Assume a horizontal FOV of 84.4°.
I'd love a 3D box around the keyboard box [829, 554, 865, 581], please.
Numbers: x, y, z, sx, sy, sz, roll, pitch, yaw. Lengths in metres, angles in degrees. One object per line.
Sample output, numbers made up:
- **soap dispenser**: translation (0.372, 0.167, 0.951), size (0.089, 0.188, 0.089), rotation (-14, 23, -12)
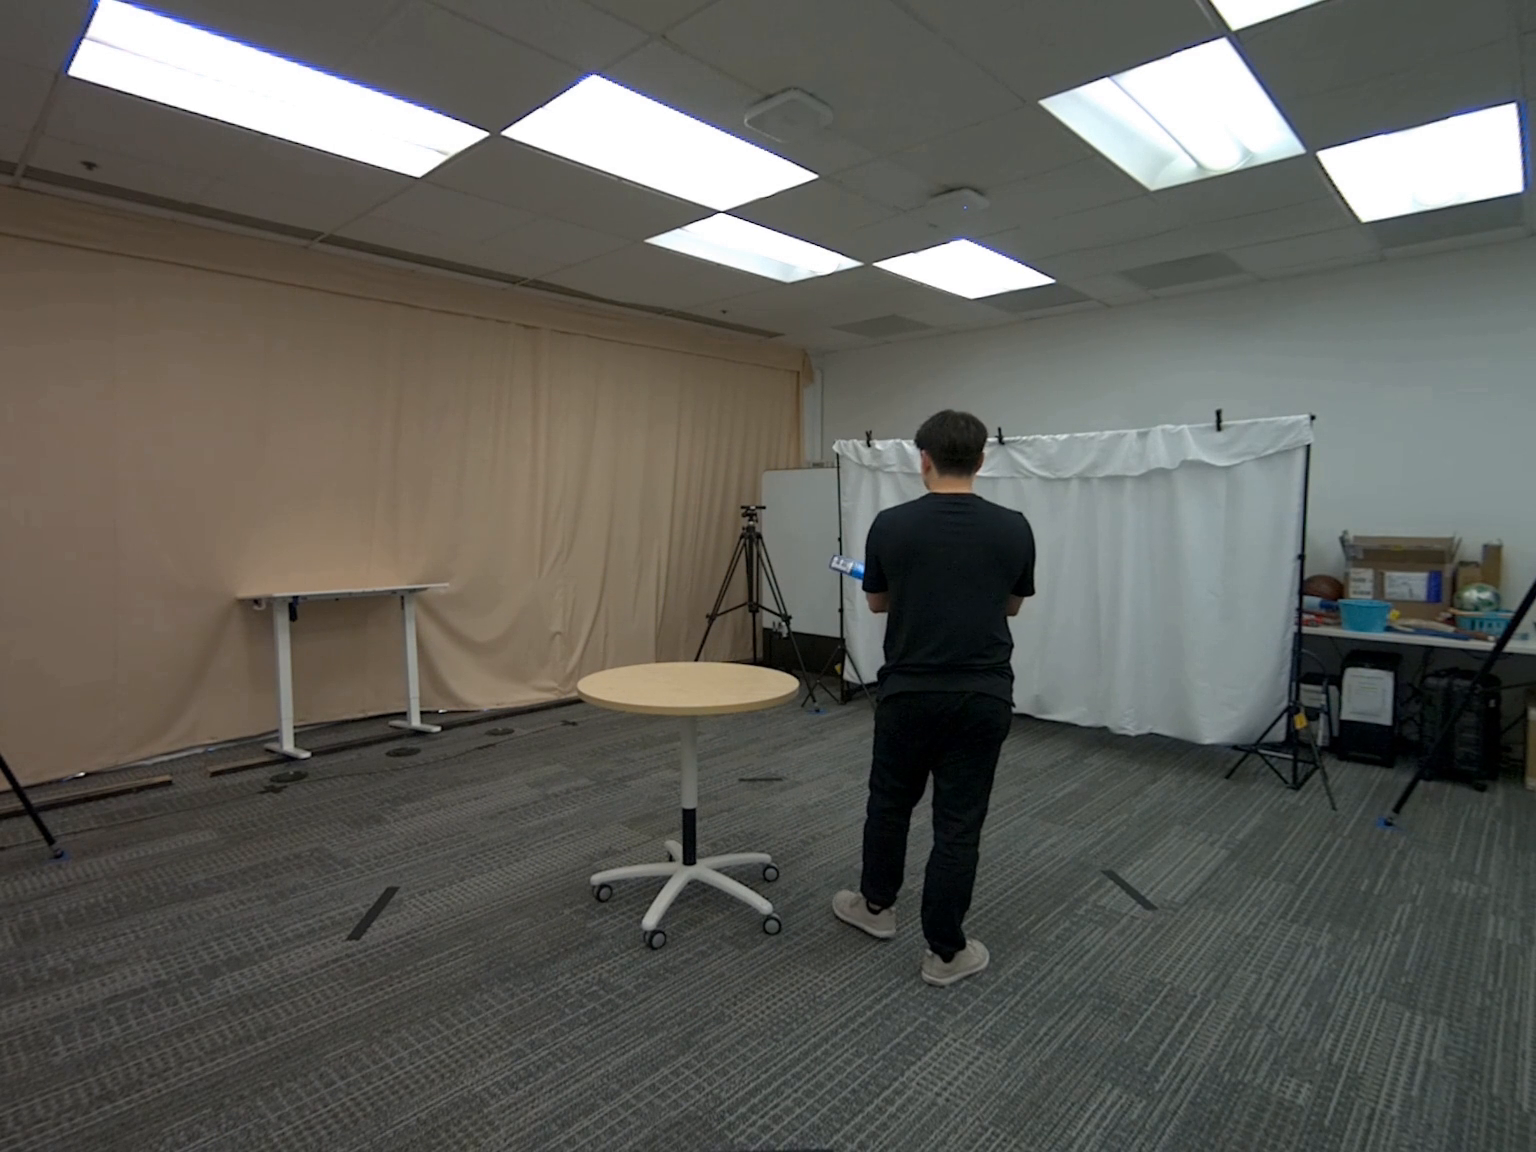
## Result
- **keyboard box**: translation (0.450, 0.021, 3.040), size (0.453, 0.059, 0.169), rotation (22, 2, 42)
